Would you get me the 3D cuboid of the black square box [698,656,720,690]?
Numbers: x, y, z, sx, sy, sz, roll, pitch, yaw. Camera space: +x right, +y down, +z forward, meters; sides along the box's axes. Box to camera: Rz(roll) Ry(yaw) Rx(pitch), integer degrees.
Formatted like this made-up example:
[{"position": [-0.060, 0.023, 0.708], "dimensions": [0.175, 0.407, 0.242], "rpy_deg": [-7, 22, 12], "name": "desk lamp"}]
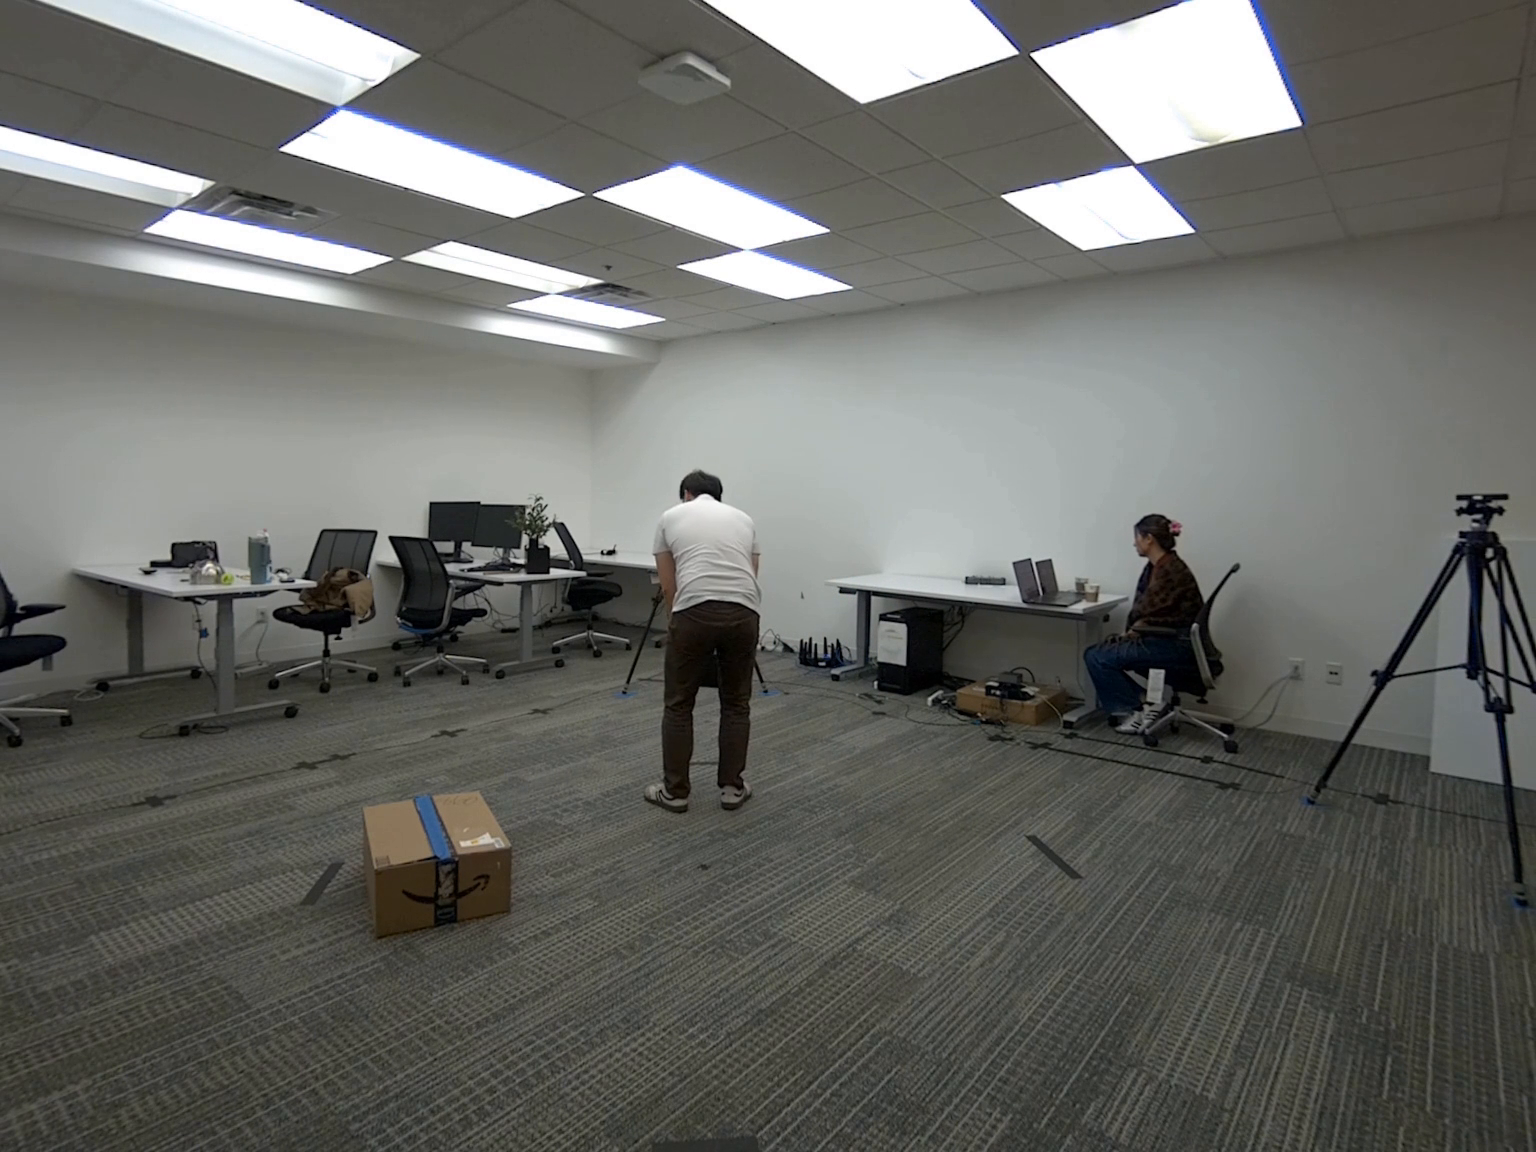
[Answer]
[{"position": [-0.322, 0.426, 3.997], "dimensions": [0.225, 0.156, 0.219], "rpy_deg": [5, -1, -10], "name": "black square box"}]
